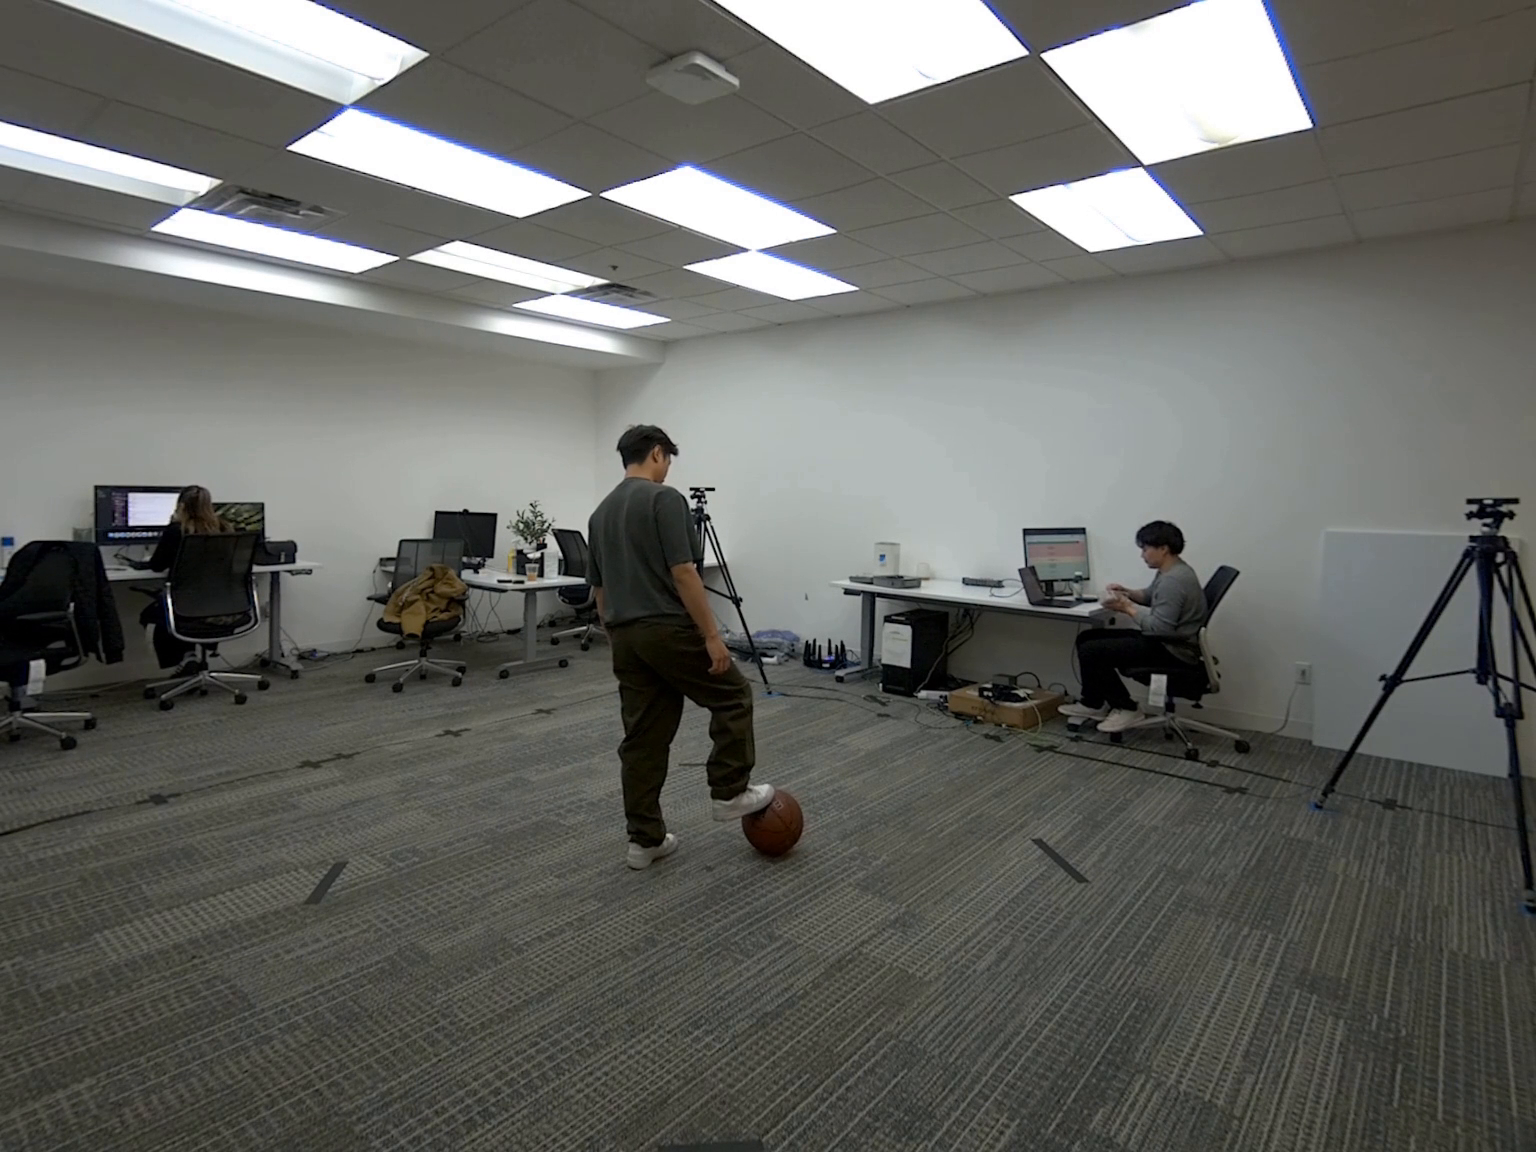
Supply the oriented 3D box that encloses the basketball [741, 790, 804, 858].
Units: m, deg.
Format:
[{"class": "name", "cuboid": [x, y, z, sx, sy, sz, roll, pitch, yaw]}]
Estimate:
[{"class": "basketball", "cuboid": [0.009, 0.942, 3.259, 0.235, 0.235, 0.237, 1, 4, -2]}]
